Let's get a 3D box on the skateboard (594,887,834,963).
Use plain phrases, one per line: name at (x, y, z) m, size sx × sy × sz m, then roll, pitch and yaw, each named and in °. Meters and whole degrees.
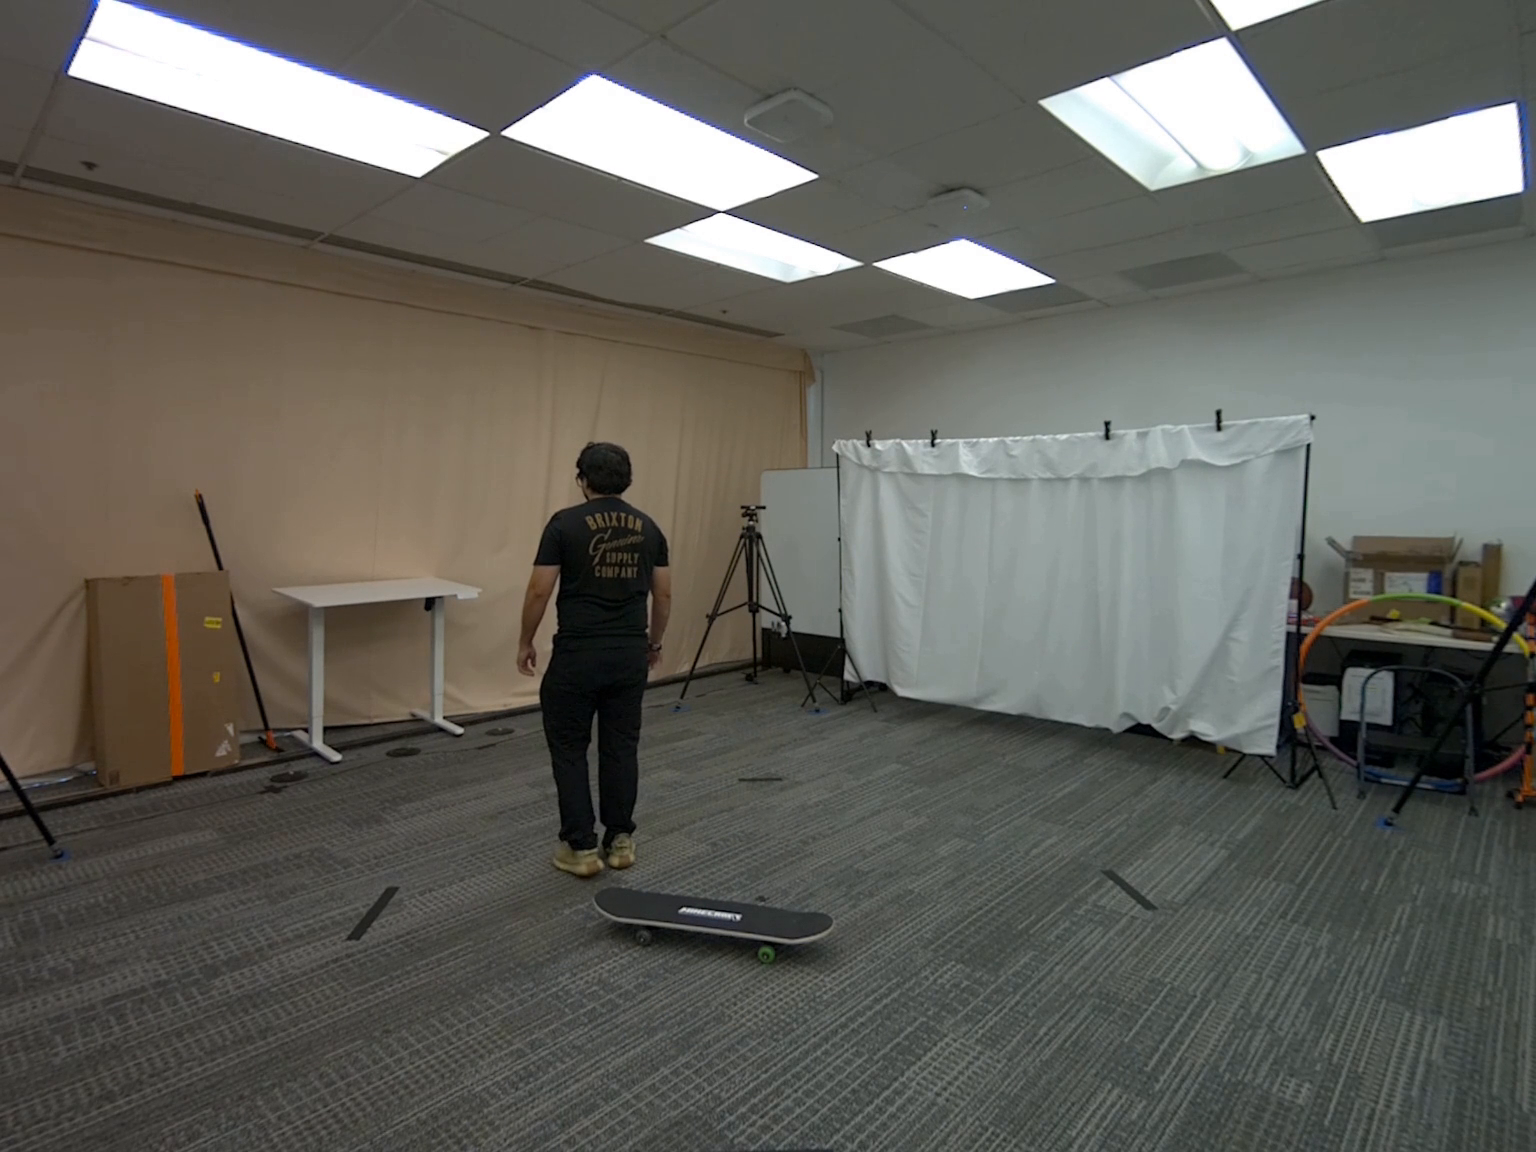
skateboard at (-0.183, 1.110, 2.693) m, size 0.797 × 0.110 × 0.191 m, roll 0°, pitch 4°, yaw 14°
